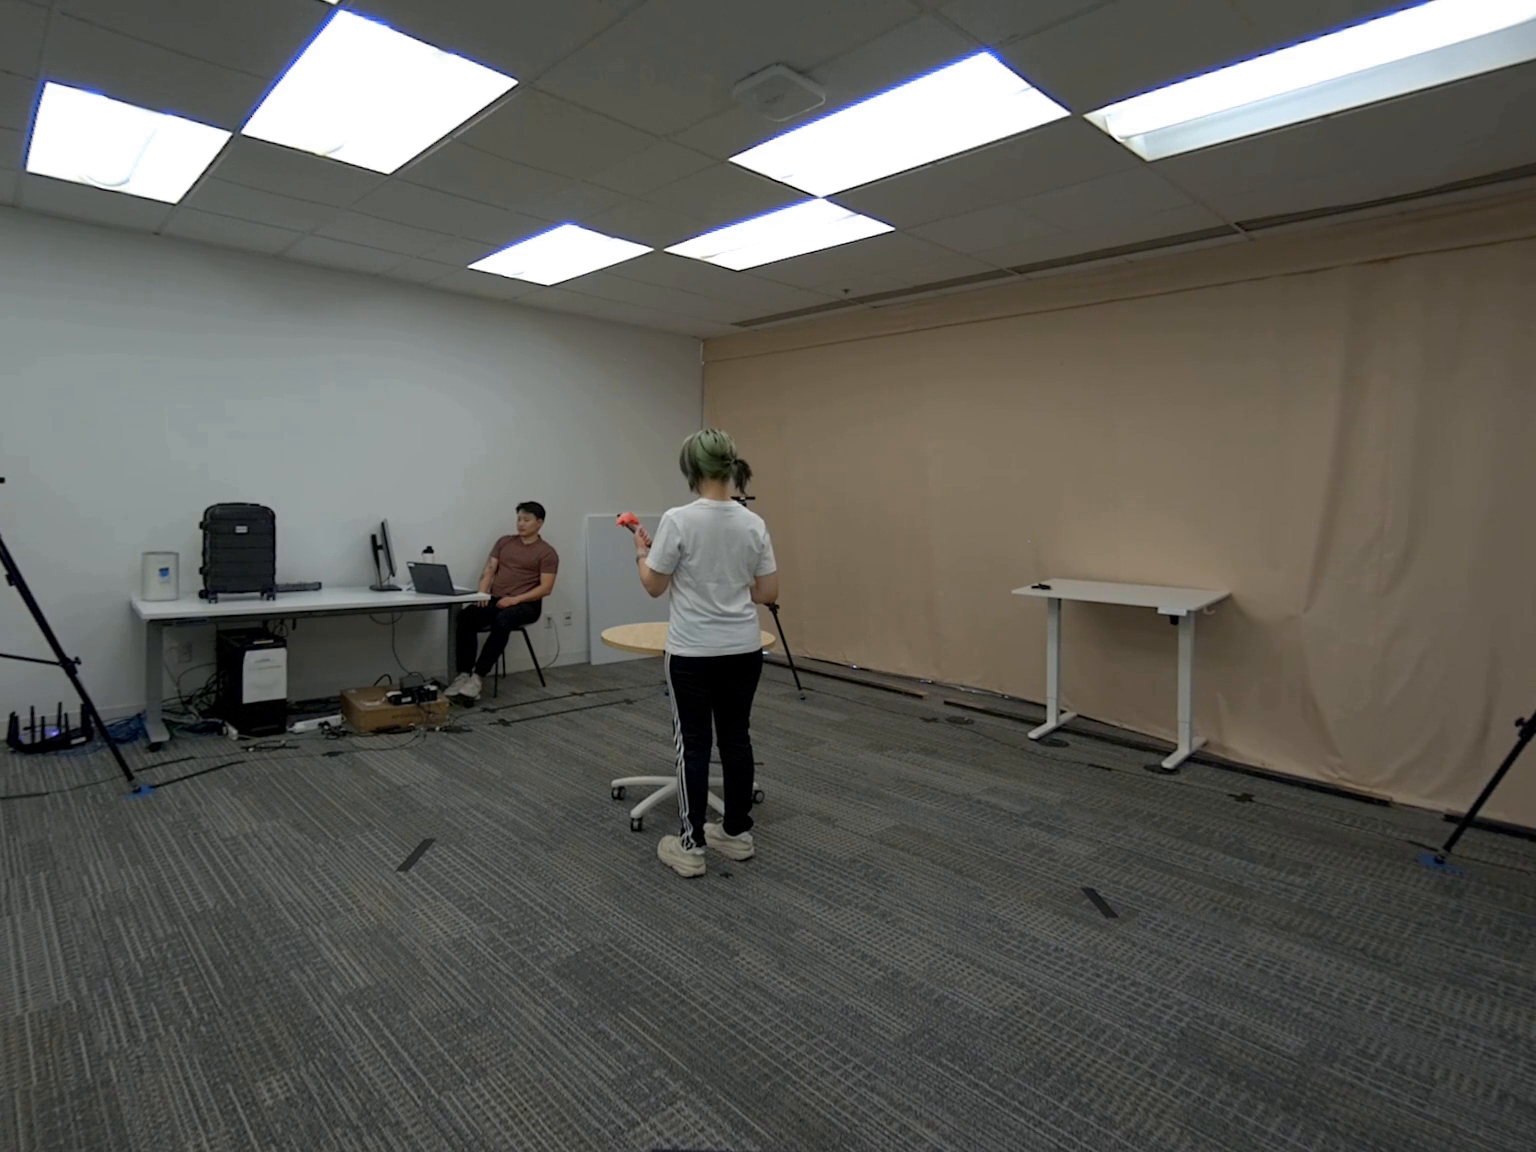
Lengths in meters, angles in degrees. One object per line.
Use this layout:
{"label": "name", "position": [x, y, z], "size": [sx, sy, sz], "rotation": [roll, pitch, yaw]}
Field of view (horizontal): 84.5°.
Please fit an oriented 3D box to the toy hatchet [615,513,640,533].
{"label": "toy hatchet", "position": [-0.494, -0.170, 3.391], "size": [0.266, 0.029, 0.133], "rotation": [35, 29, -12]}
